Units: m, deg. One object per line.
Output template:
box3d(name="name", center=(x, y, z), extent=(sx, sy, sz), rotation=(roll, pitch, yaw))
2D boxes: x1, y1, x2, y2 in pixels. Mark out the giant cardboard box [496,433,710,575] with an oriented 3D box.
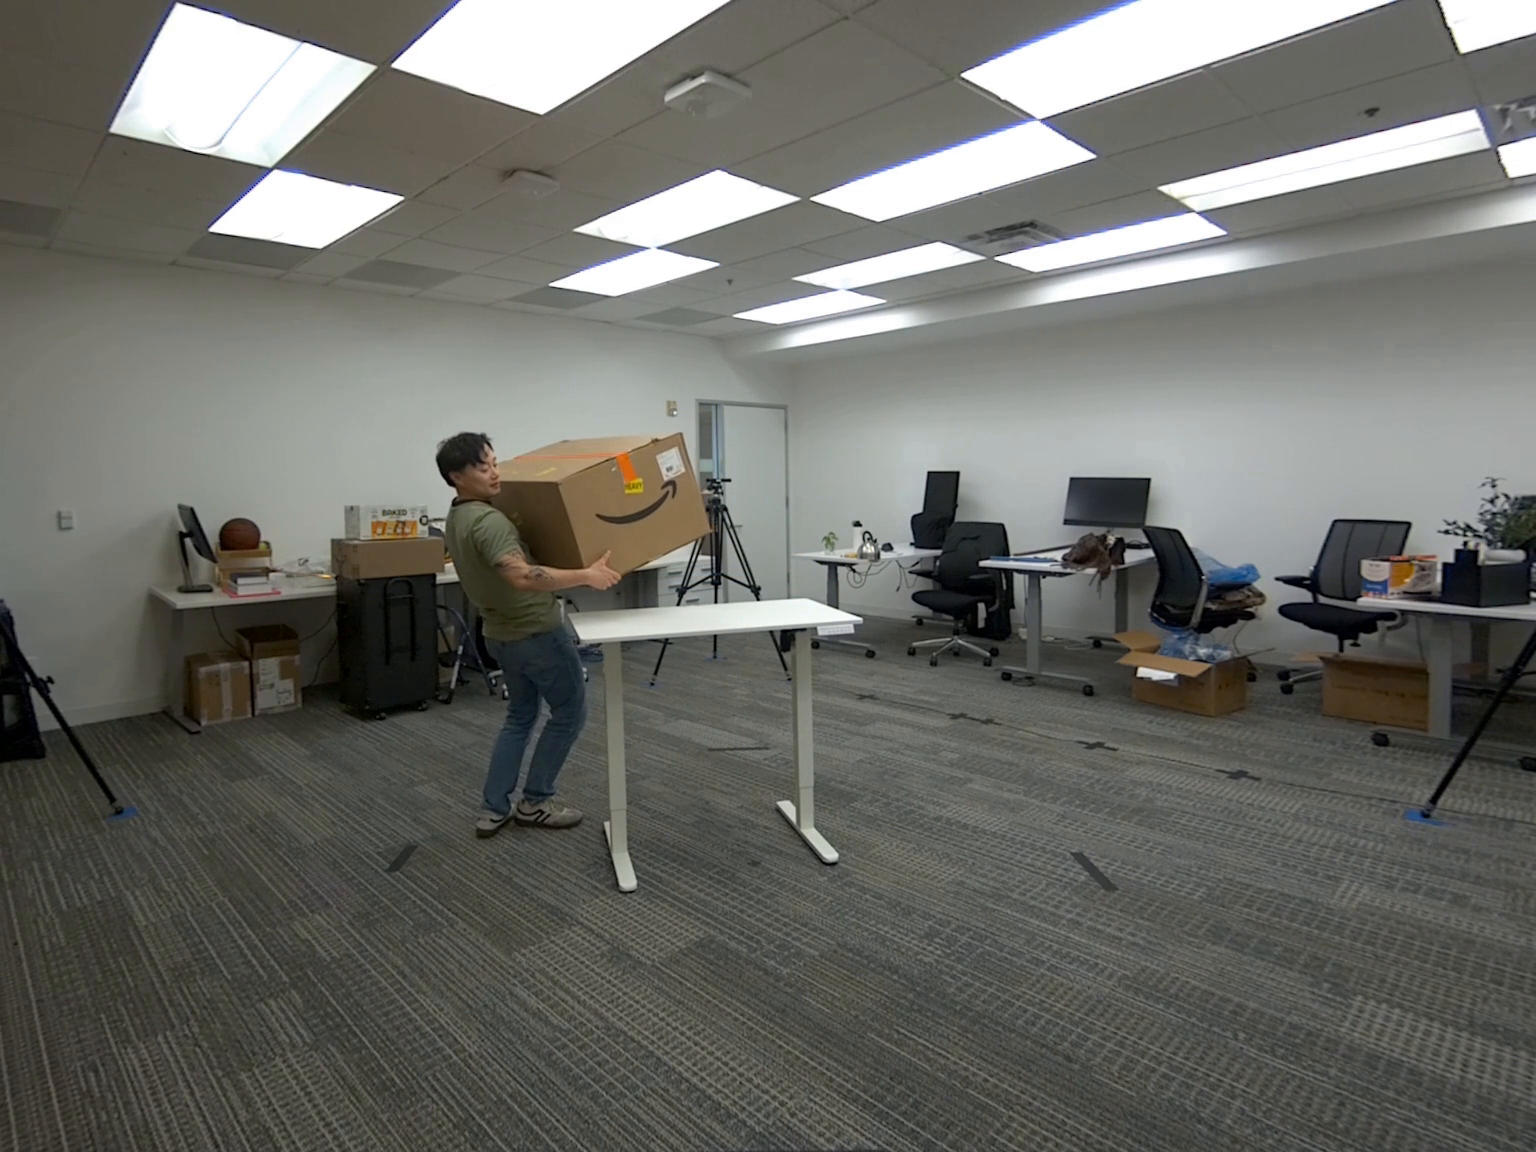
box3d(name="giant cardboard box", center=(-0.804, -0.310, 3.624), extent=(0.570, 0.418, 1.058), rotation=(-28, 21, -32))
